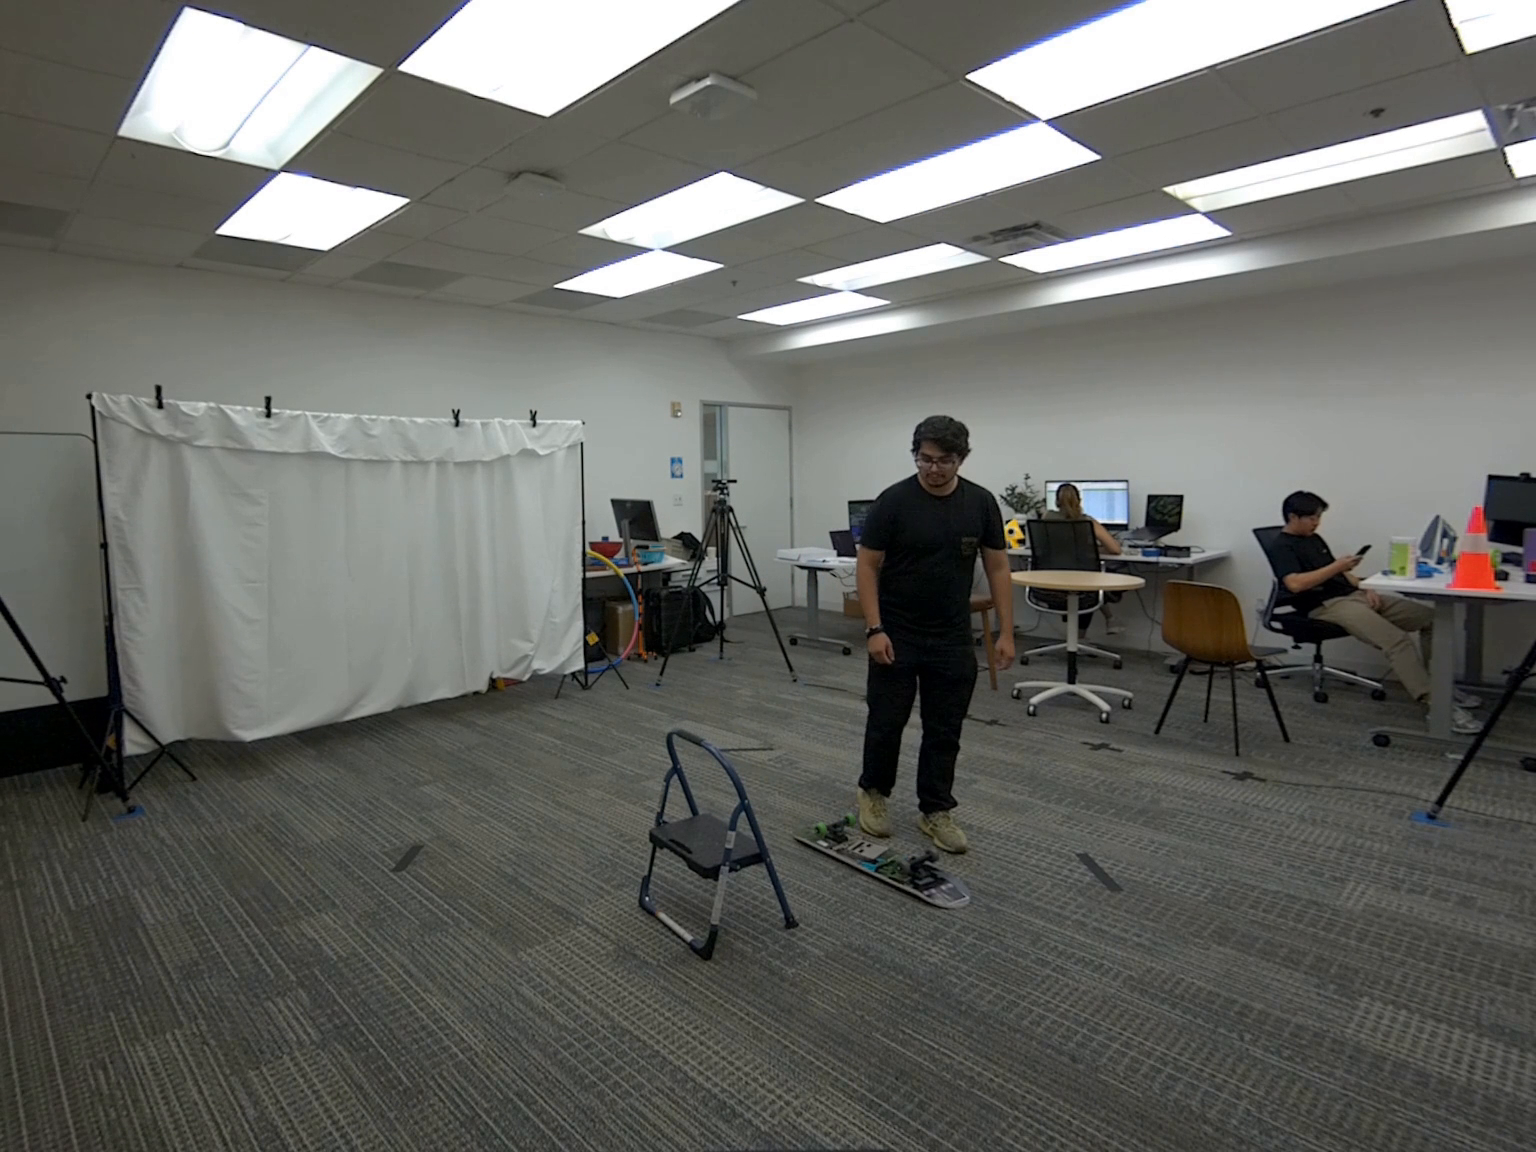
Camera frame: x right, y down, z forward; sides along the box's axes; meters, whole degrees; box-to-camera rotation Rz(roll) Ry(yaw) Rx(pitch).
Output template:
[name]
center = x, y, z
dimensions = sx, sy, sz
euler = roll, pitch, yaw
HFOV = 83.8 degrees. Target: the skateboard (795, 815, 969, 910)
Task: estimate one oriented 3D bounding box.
[skateboard]
center = 0.390, 0.995, 3.083
dimensions = 0.188, 0.110, 0.809
euler = -5, 7, -39
